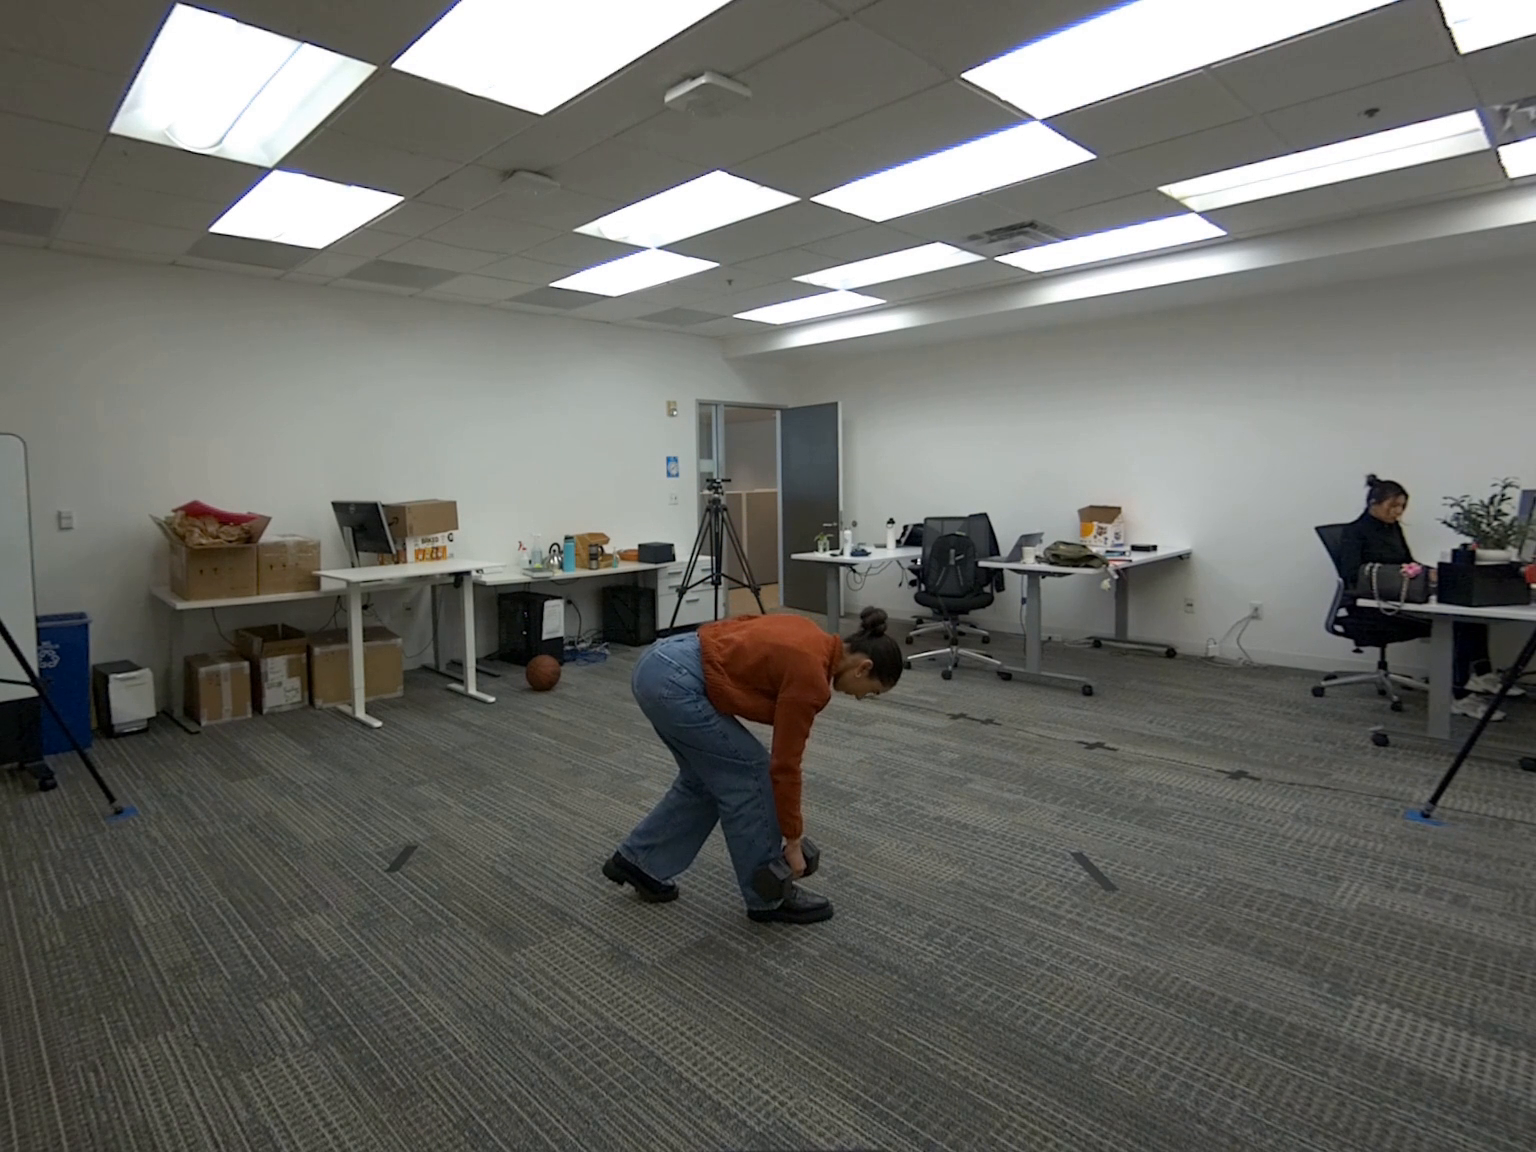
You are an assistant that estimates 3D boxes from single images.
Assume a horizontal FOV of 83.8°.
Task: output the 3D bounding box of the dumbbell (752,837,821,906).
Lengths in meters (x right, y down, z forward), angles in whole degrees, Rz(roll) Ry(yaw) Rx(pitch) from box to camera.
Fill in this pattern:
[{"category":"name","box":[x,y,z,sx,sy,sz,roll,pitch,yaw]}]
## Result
[{"category":"dumbbell","box":[0.062,0.899,2.630,0.111,0.123,0.286,9,3,26]}]
